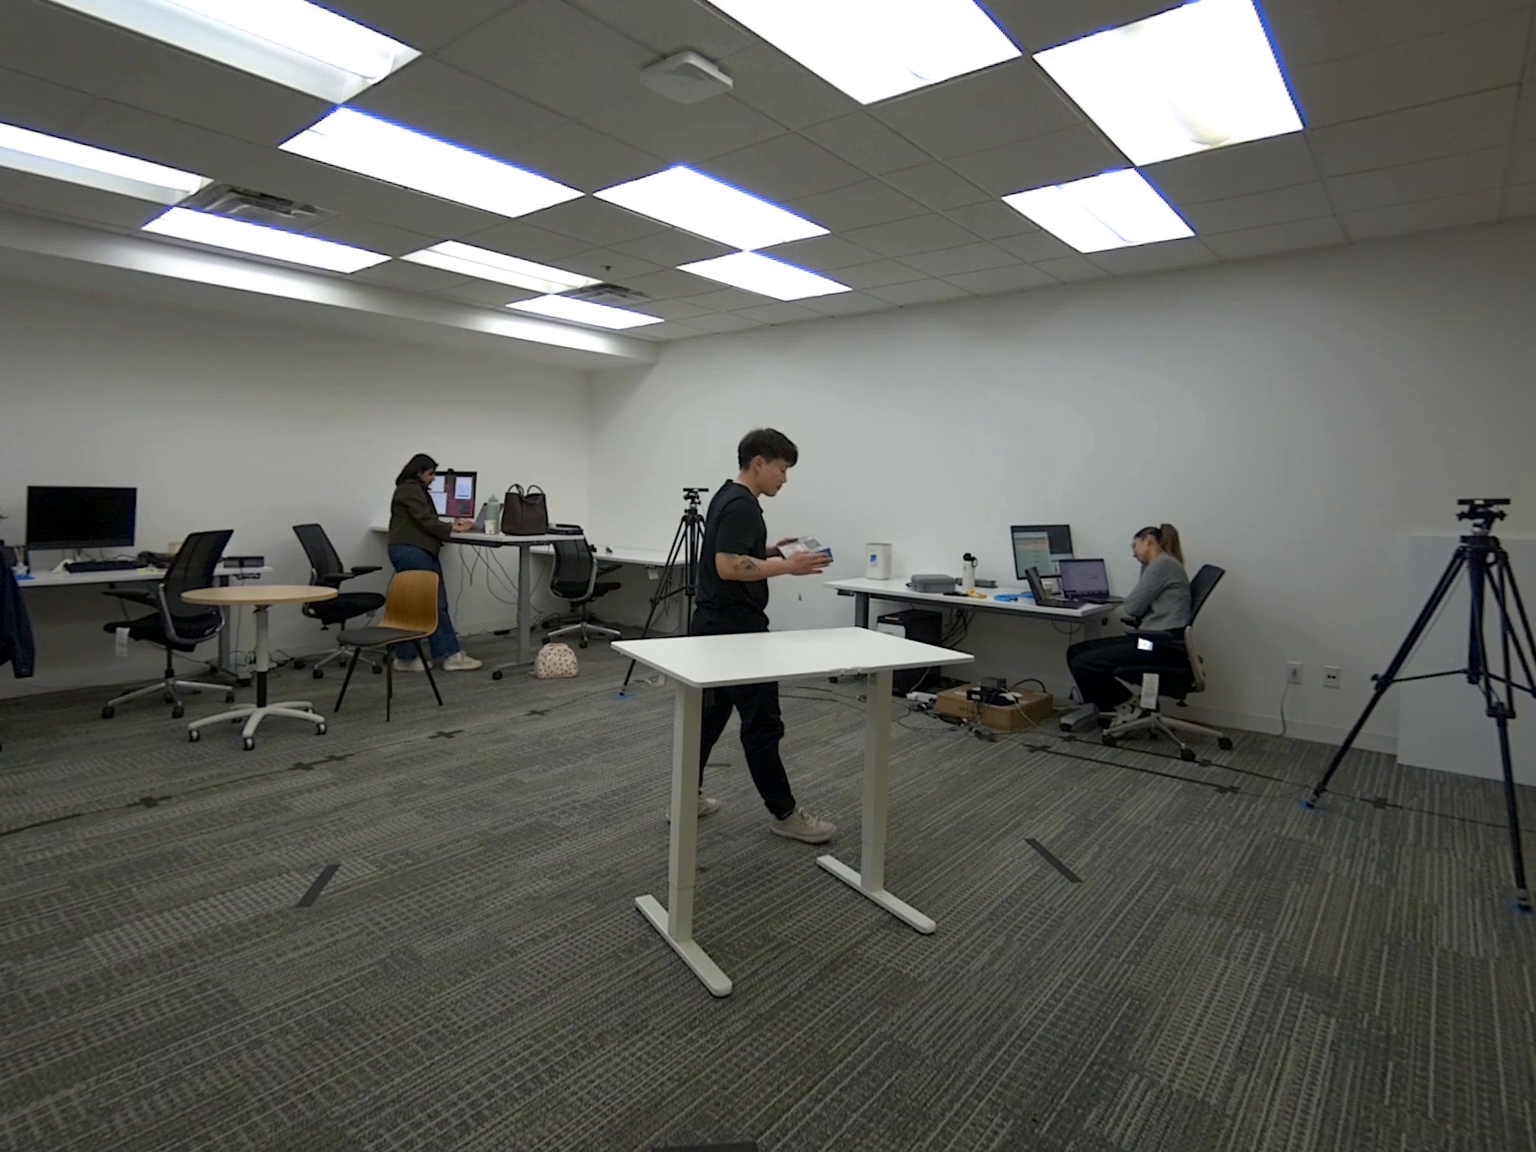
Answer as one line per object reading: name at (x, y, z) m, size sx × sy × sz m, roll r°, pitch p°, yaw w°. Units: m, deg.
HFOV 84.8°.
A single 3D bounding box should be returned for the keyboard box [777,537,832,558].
keyboard box at (0.138, -0.091, 3.498) m, size 0.175 × 0.058 × 0.443 m, roll -17°, pitch 11°, yaw -4°
